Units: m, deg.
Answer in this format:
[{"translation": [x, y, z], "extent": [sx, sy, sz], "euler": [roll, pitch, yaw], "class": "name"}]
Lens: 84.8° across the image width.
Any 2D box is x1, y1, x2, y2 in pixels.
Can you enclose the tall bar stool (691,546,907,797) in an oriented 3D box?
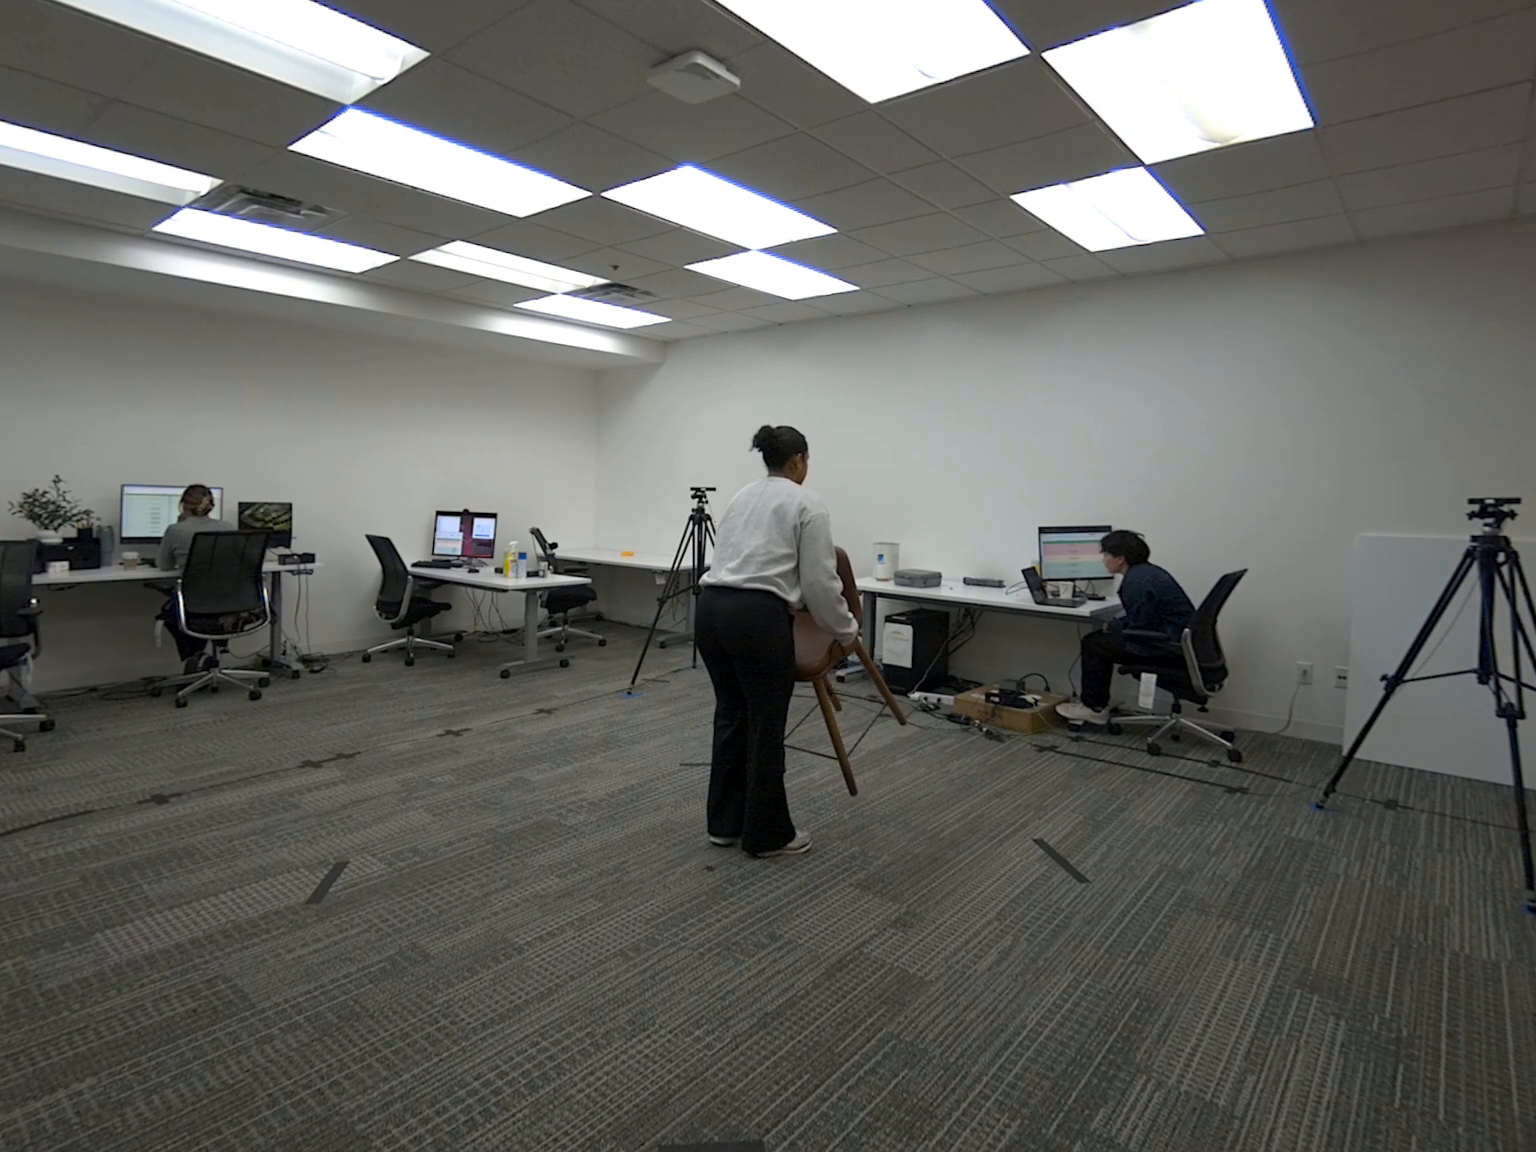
[{"translation": [0.176, 0.376, 3.475], "extent": [0.472, 0.868, 0.464], "euler": [3, 31, 45], "class": "tall bar stool"}]
